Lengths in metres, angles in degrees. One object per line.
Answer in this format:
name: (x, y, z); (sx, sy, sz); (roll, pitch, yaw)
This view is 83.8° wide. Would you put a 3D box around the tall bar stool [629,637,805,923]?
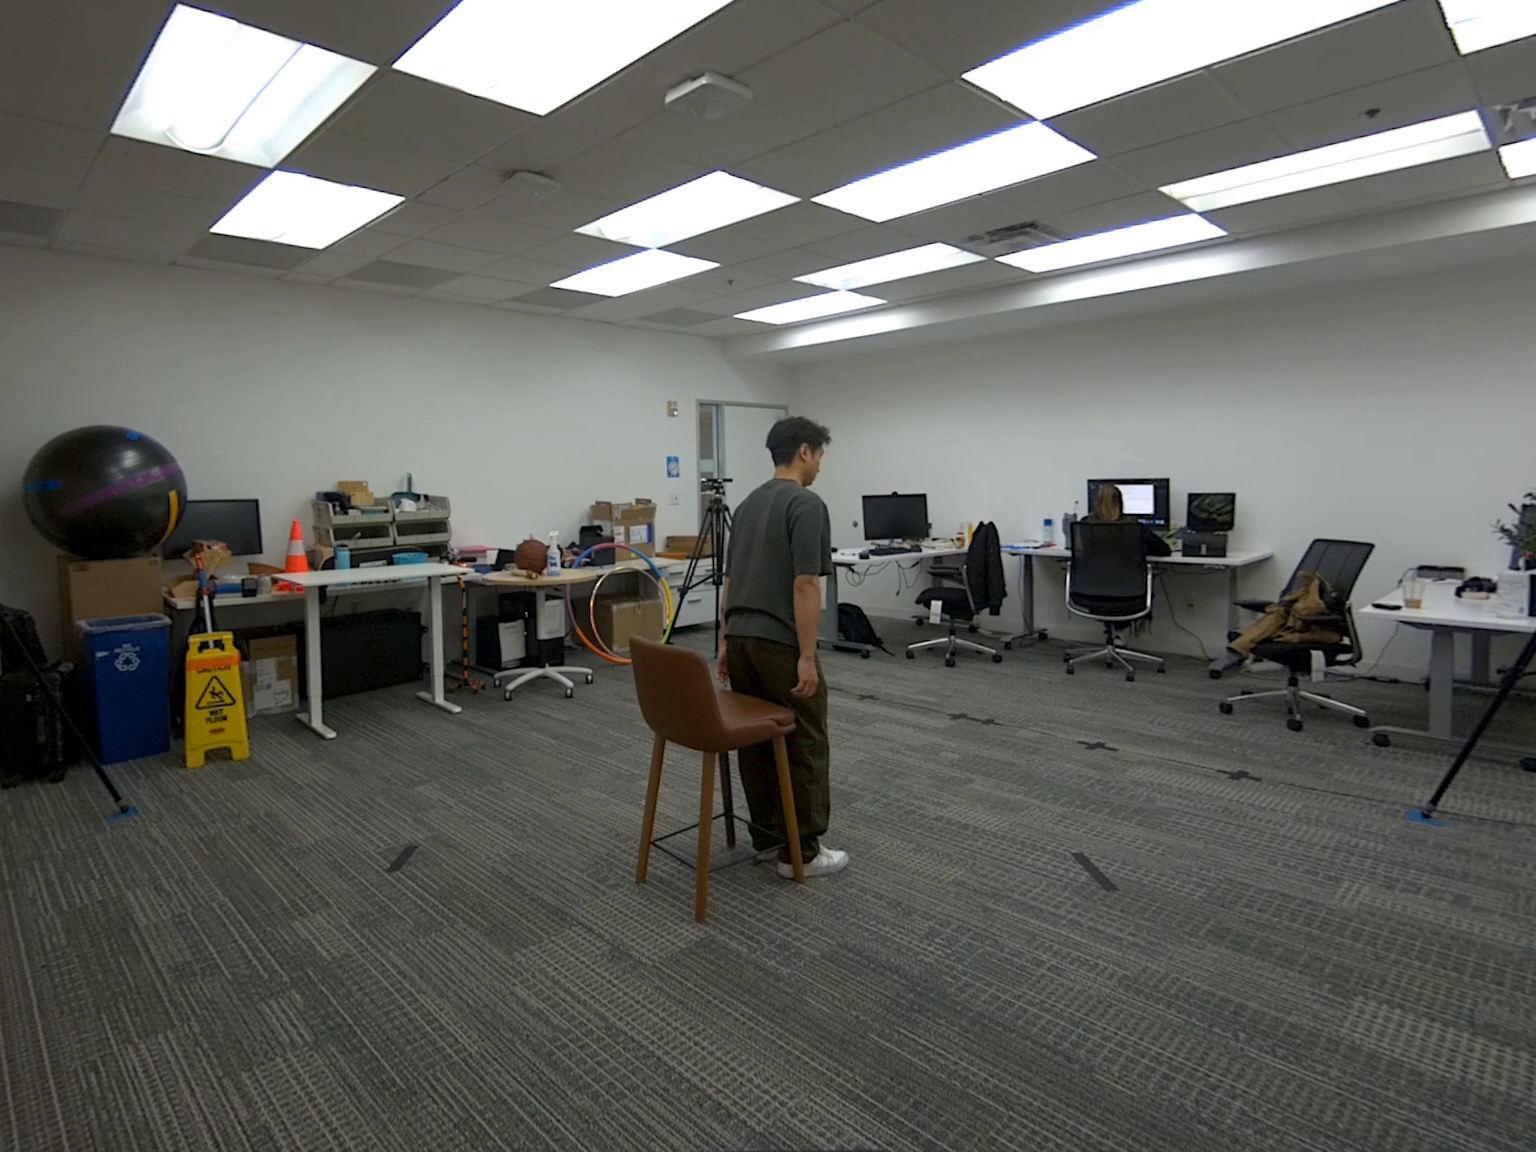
tall bar stool: (-0.179, 0.628, 2.936); (0.456, 0.885, 0.470); (-6, 7, -40)
